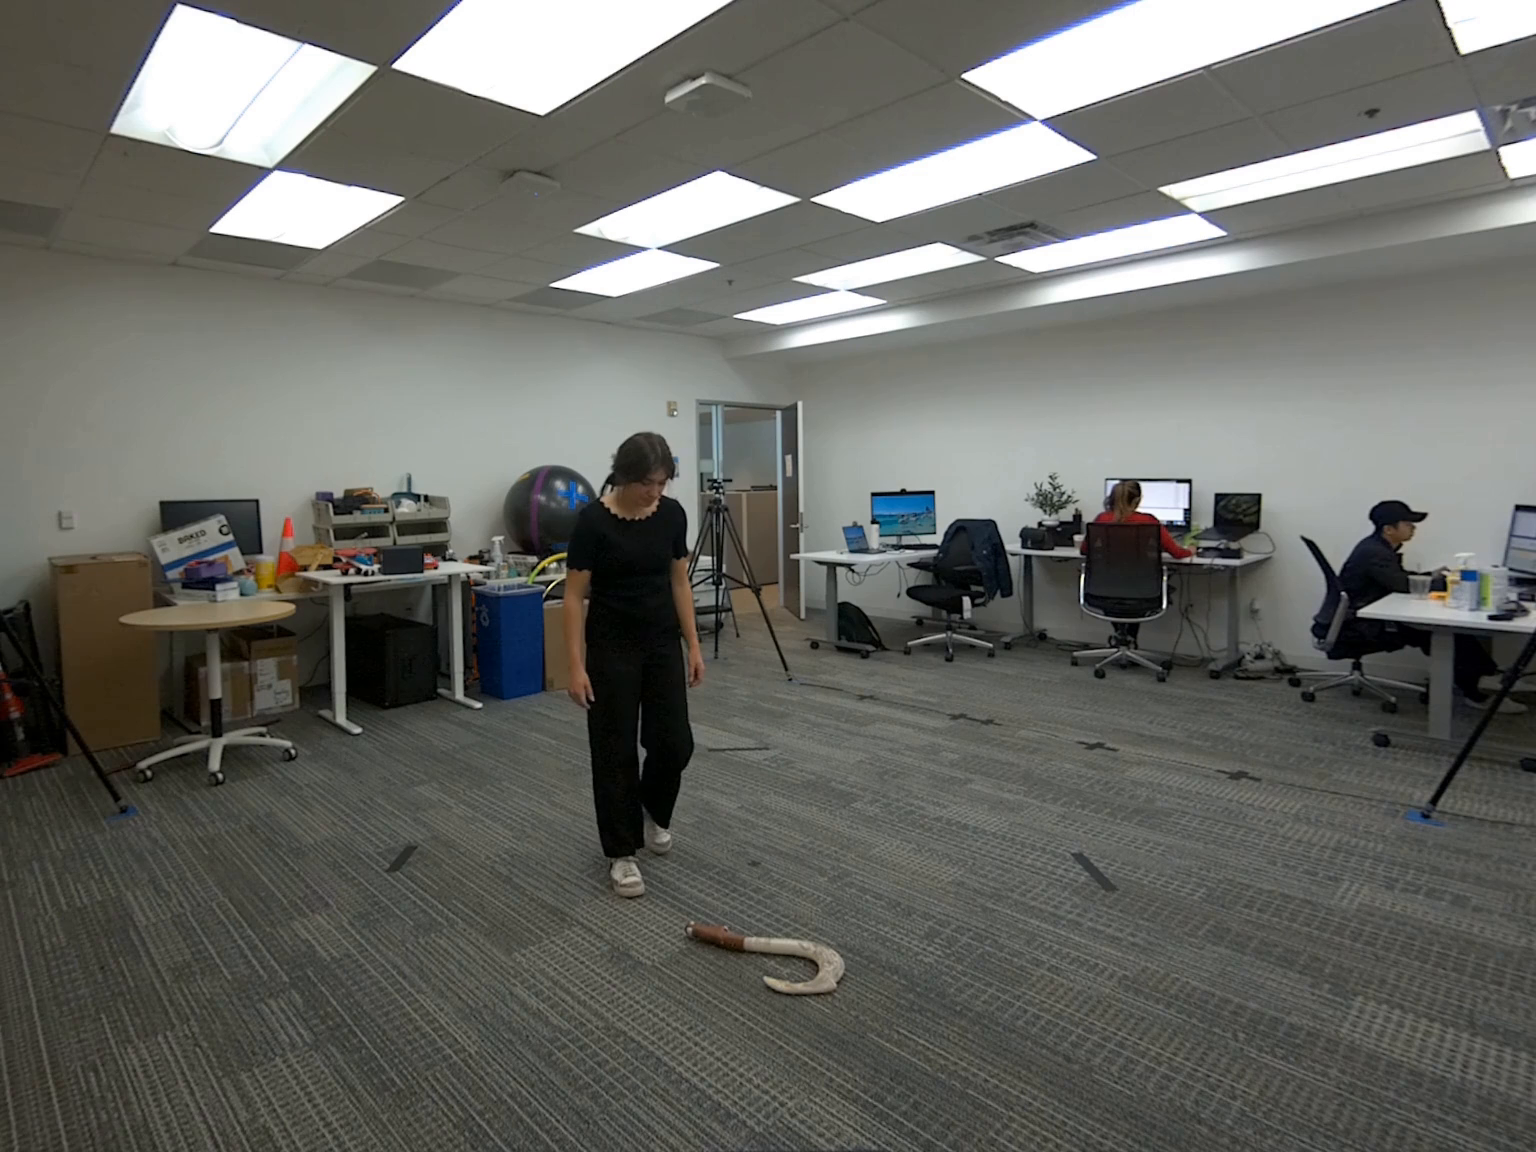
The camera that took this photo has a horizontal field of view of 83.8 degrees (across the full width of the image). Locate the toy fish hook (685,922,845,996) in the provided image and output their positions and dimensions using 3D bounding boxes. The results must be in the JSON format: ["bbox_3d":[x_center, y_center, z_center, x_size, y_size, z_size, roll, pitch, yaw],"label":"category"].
[{"bbox_3d":[-0.033,1.096,2.462,0.518,0.048,0.220,2,6,24],"label":"toy fish hook"}]
